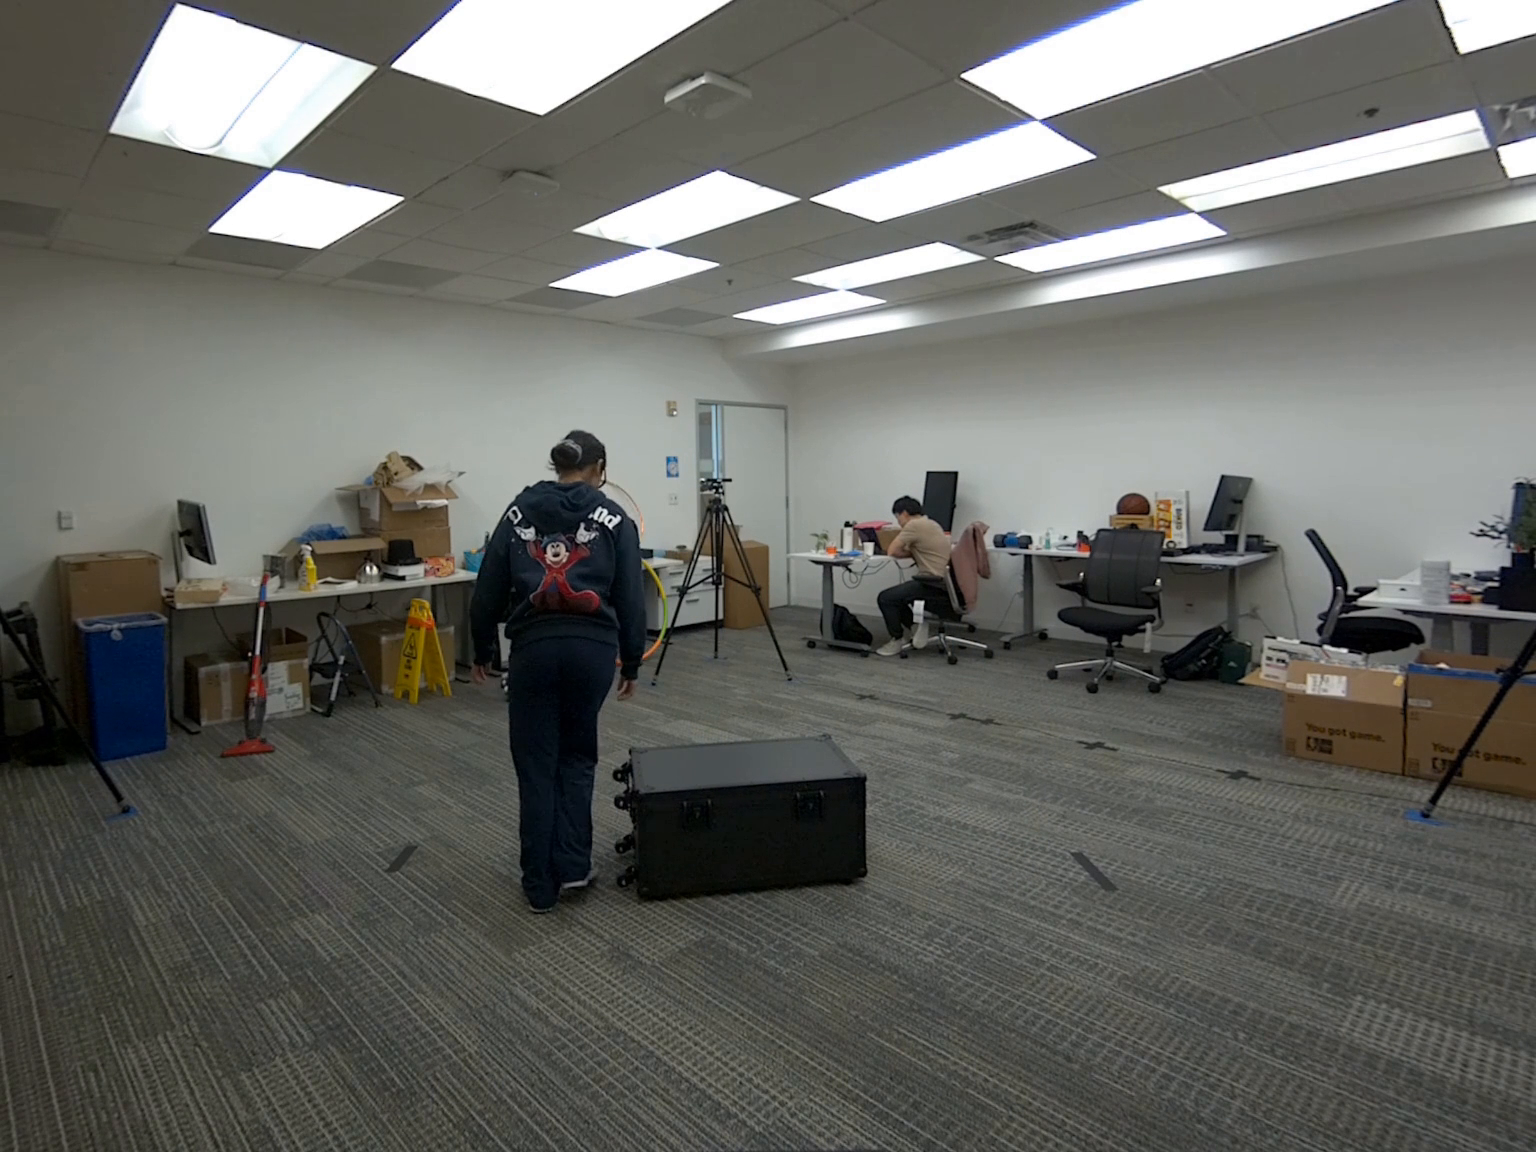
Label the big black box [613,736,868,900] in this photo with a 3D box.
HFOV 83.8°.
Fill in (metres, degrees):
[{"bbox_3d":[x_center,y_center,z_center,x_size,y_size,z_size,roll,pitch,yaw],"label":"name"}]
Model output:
[{"bbox_3d":[-0.124,0.855,3.098,0.854,0.395,0.528,-2,5,-9],"label":"big black box"}]
